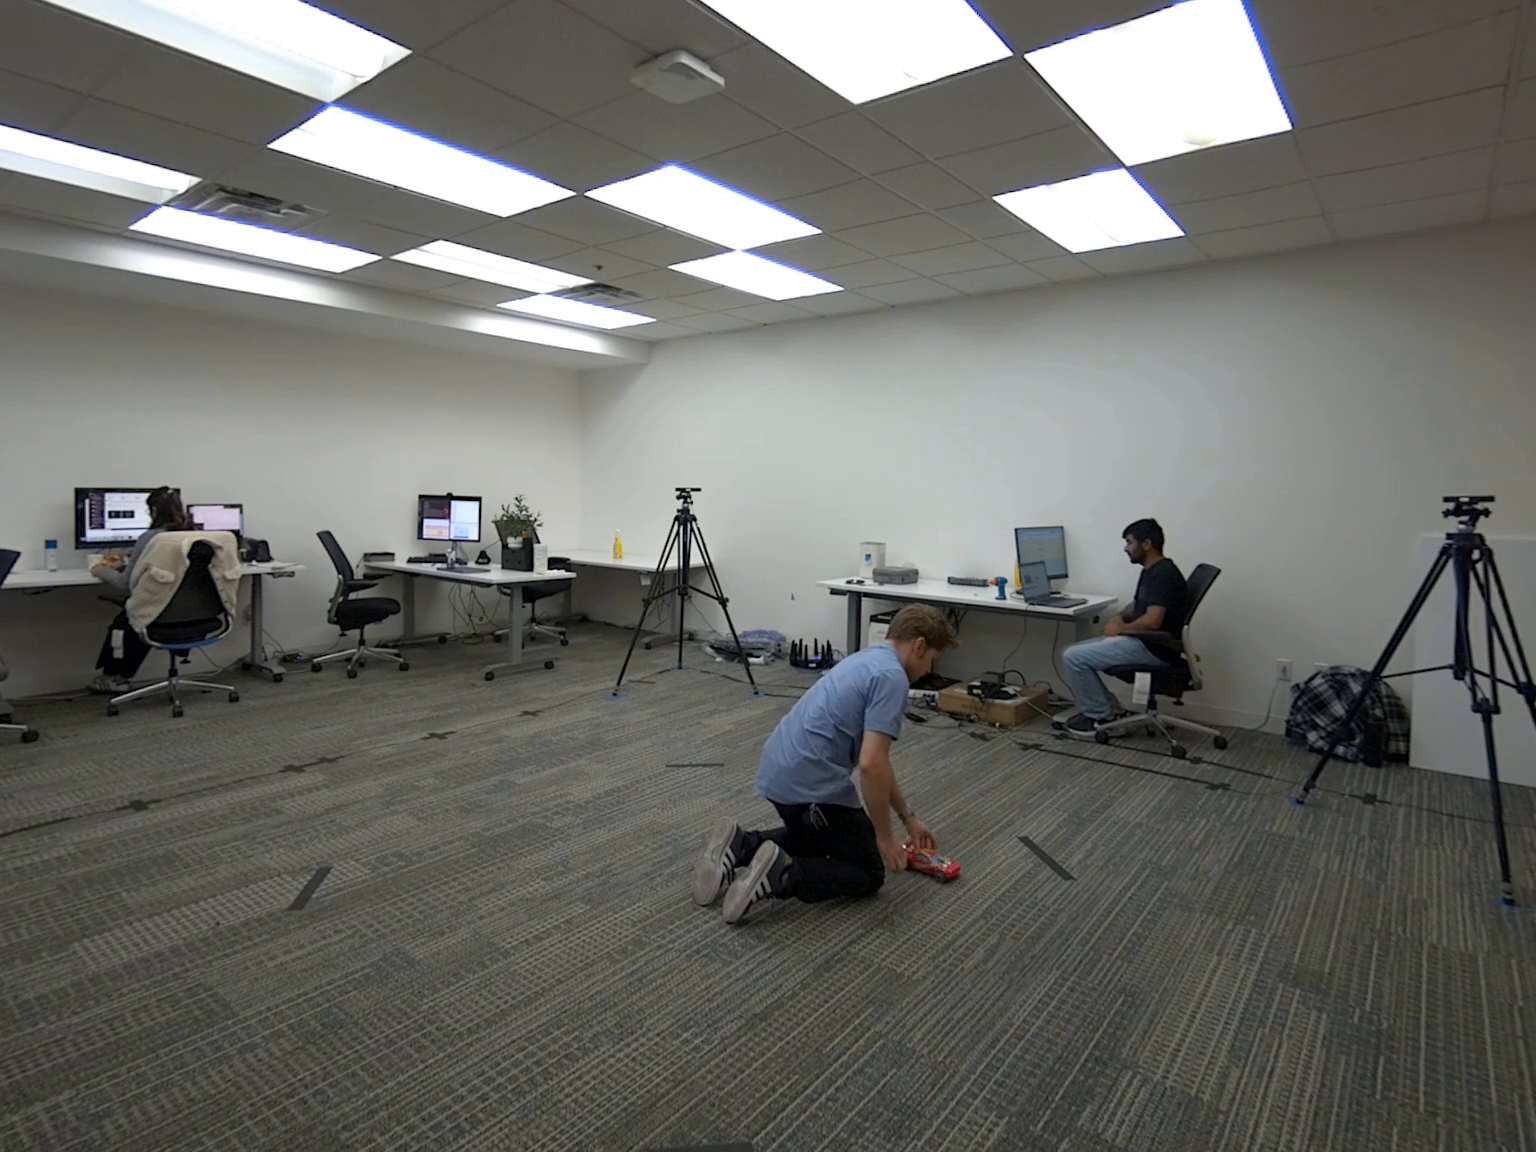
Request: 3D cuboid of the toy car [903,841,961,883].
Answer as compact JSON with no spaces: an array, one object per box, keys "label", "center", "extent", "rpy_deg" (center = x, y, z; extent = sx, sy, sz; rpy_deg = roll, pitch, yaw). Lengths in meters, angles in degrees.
[{"label":"toy car","center":[0.573,1.054,3.155],"extent":[0.264,0.082,0.126],"rpy_deg":[19,16,40]}]
